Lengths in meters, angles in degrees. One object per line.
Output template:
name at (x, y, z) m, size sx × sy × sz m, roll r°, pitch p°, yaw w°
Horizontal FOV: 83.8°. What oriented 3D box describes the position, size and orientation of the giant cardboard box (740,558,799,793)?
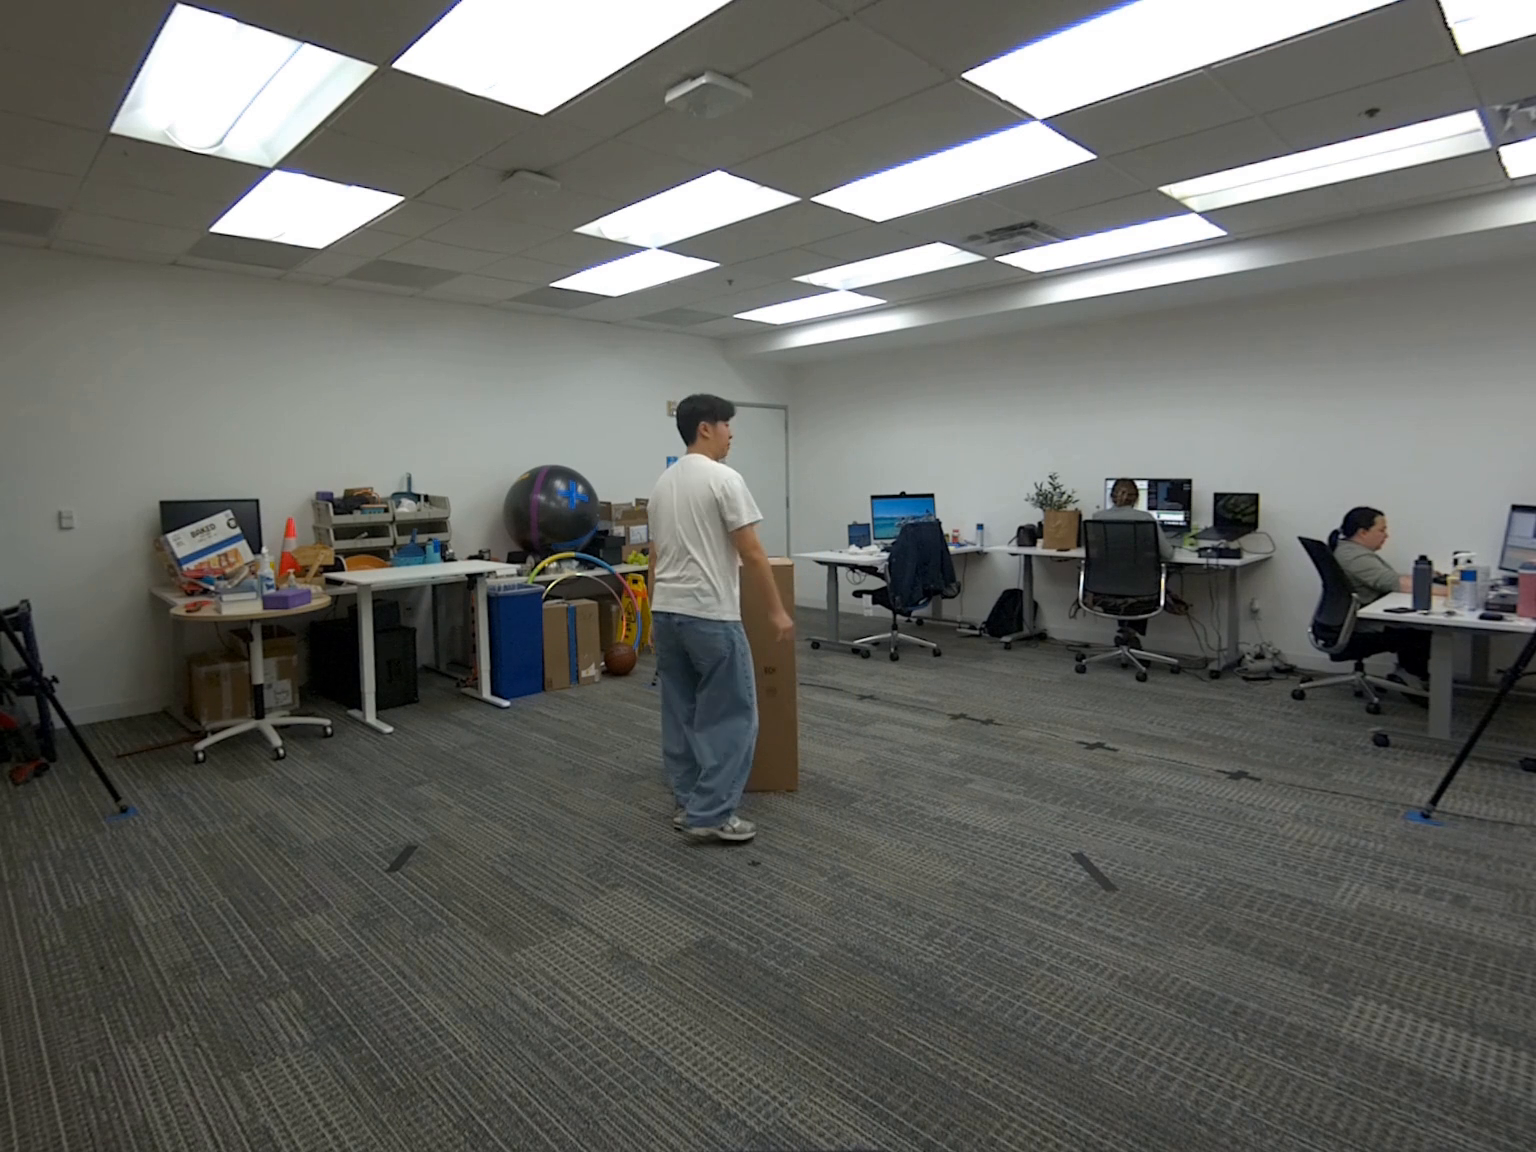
giant cardboard box at (-0.167, 0.438, 3.998) m, size 0.577 × 1.022 × 0.428 m, roll -1°, pitch 4°, yaw -2°
